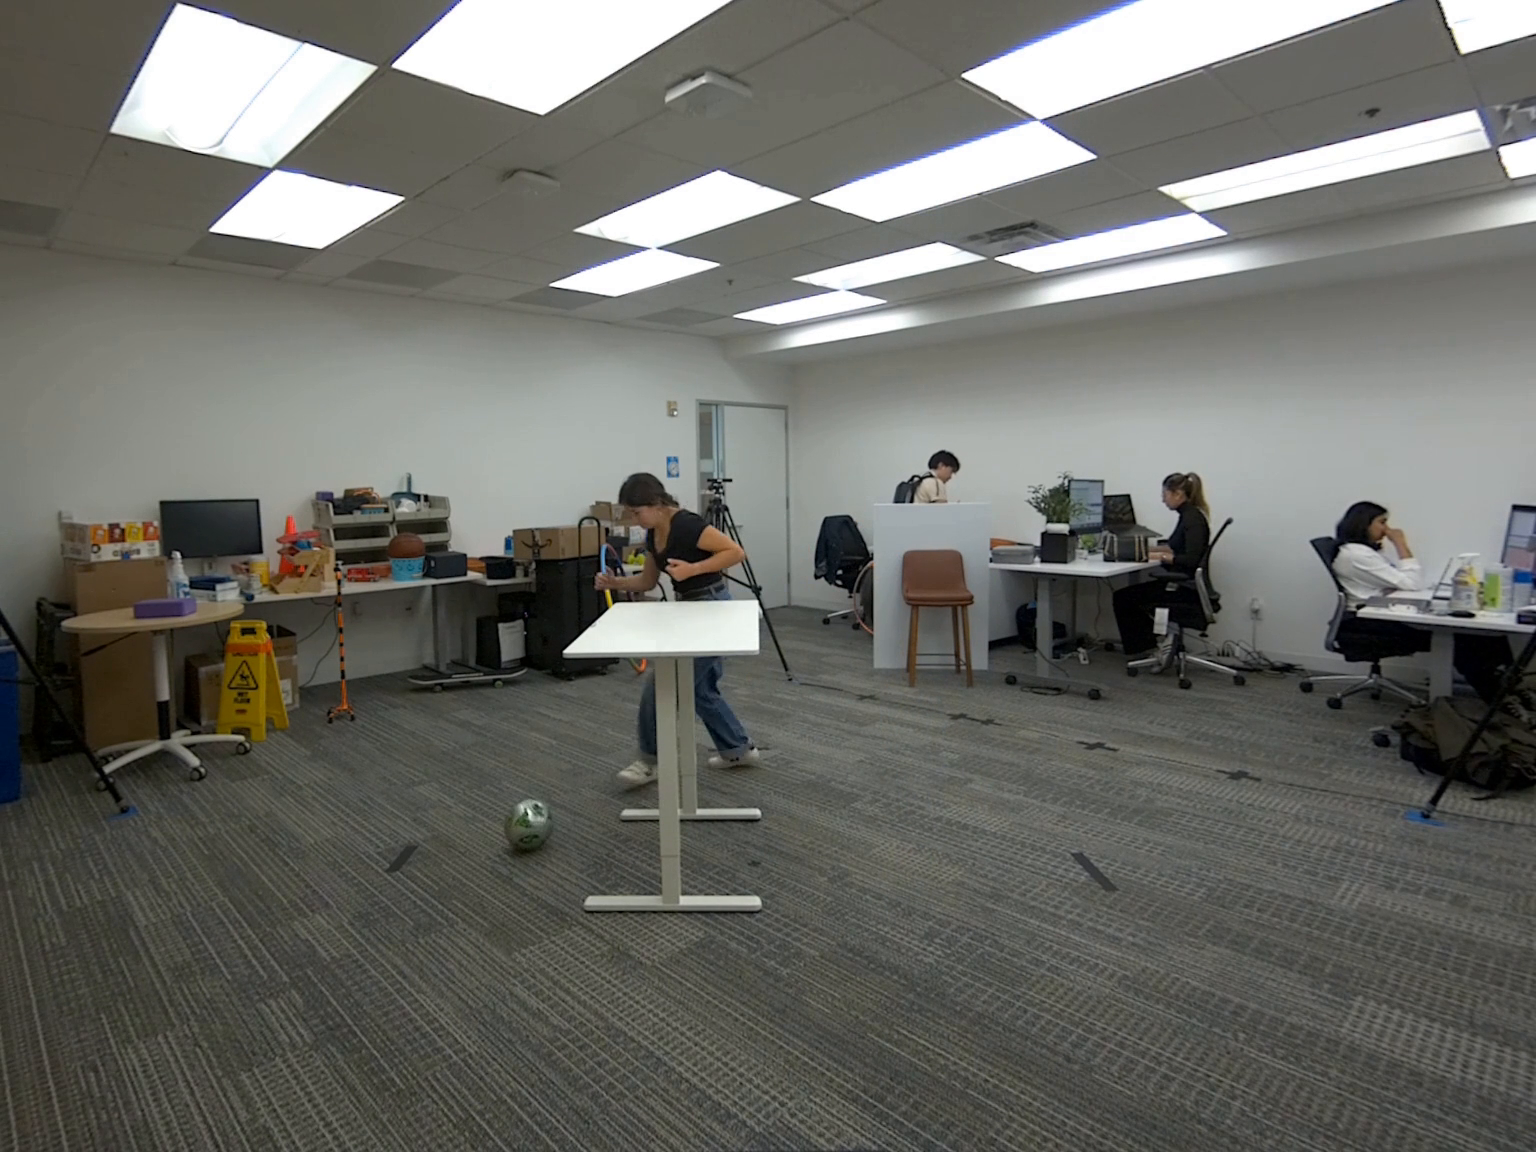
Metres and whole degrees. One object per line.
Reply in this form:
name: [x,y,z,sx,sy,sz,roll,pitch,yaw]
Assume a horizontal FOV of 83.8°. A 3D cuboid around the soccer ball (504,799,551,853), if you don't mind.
soccer ball: [-0.915,0.954,3.265,0.187,0.187,0.188,-1,5,-2]
